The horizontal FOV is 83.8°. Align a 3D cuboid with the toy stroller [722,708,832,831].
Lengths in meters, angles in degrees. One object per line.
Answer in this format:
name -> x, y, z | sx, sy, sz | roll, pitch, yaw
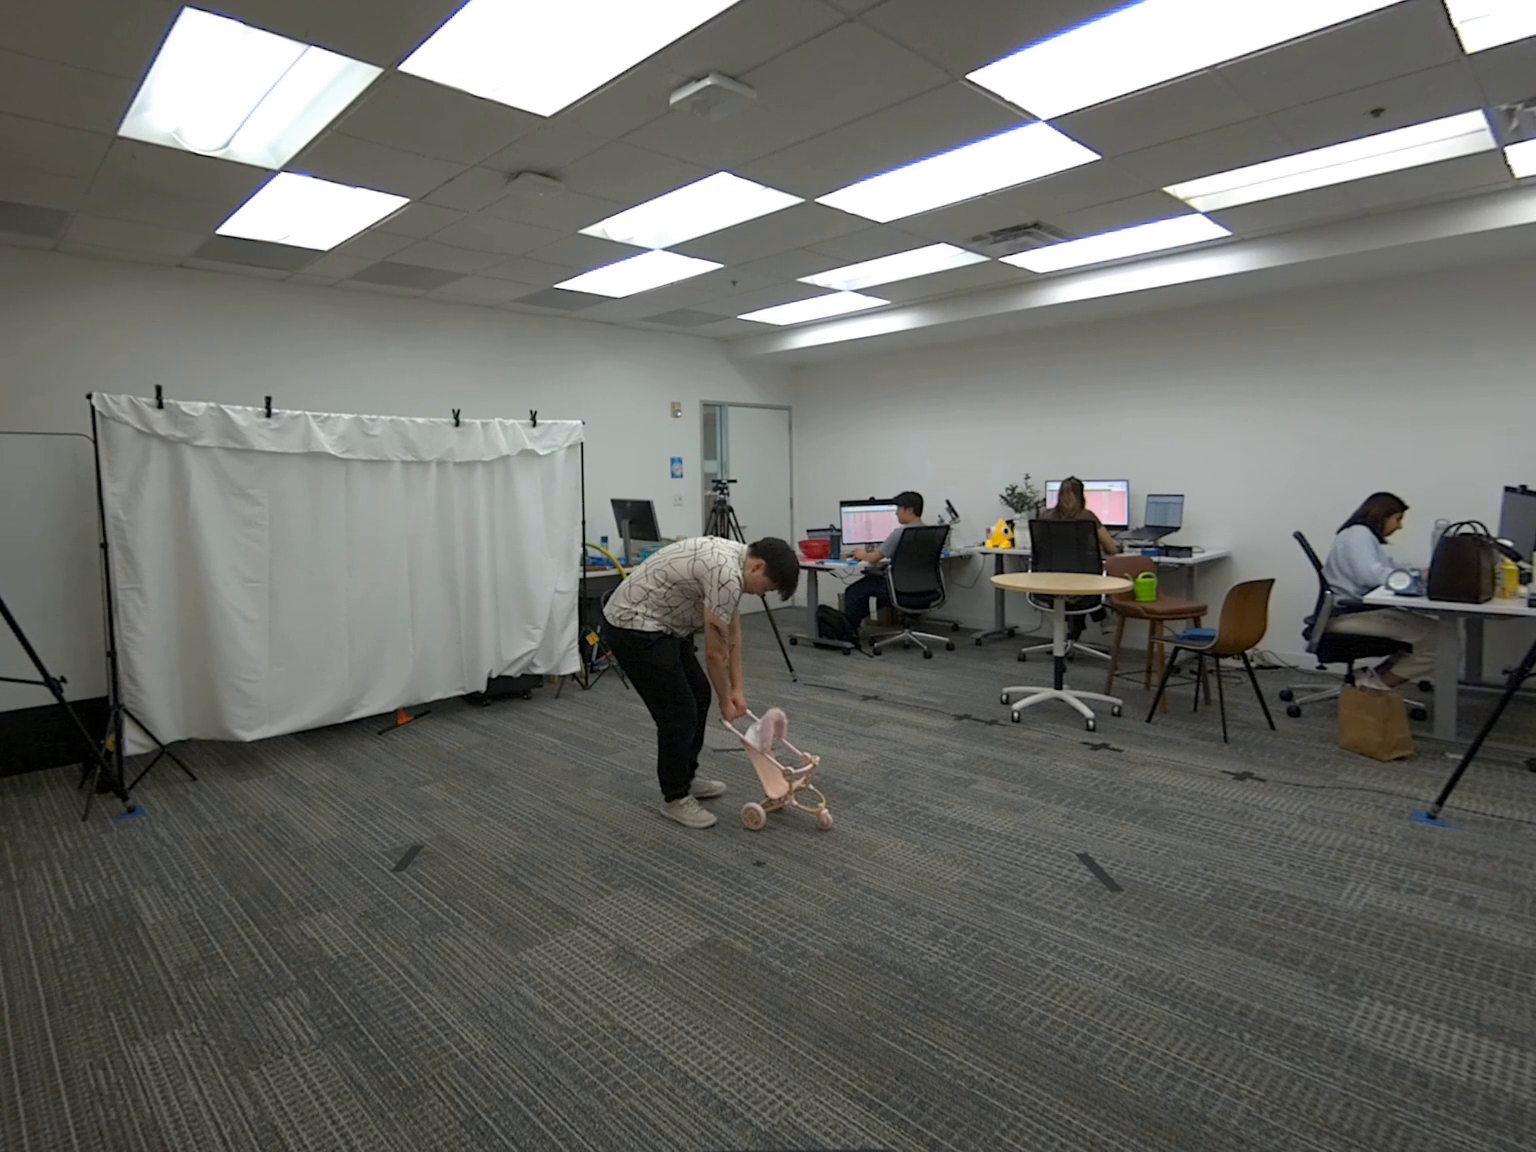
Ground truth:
toy stroller -> 0.047, 0.778, 3.478 | 0.347, 0.538, 0.275 | -17, -5, 31
